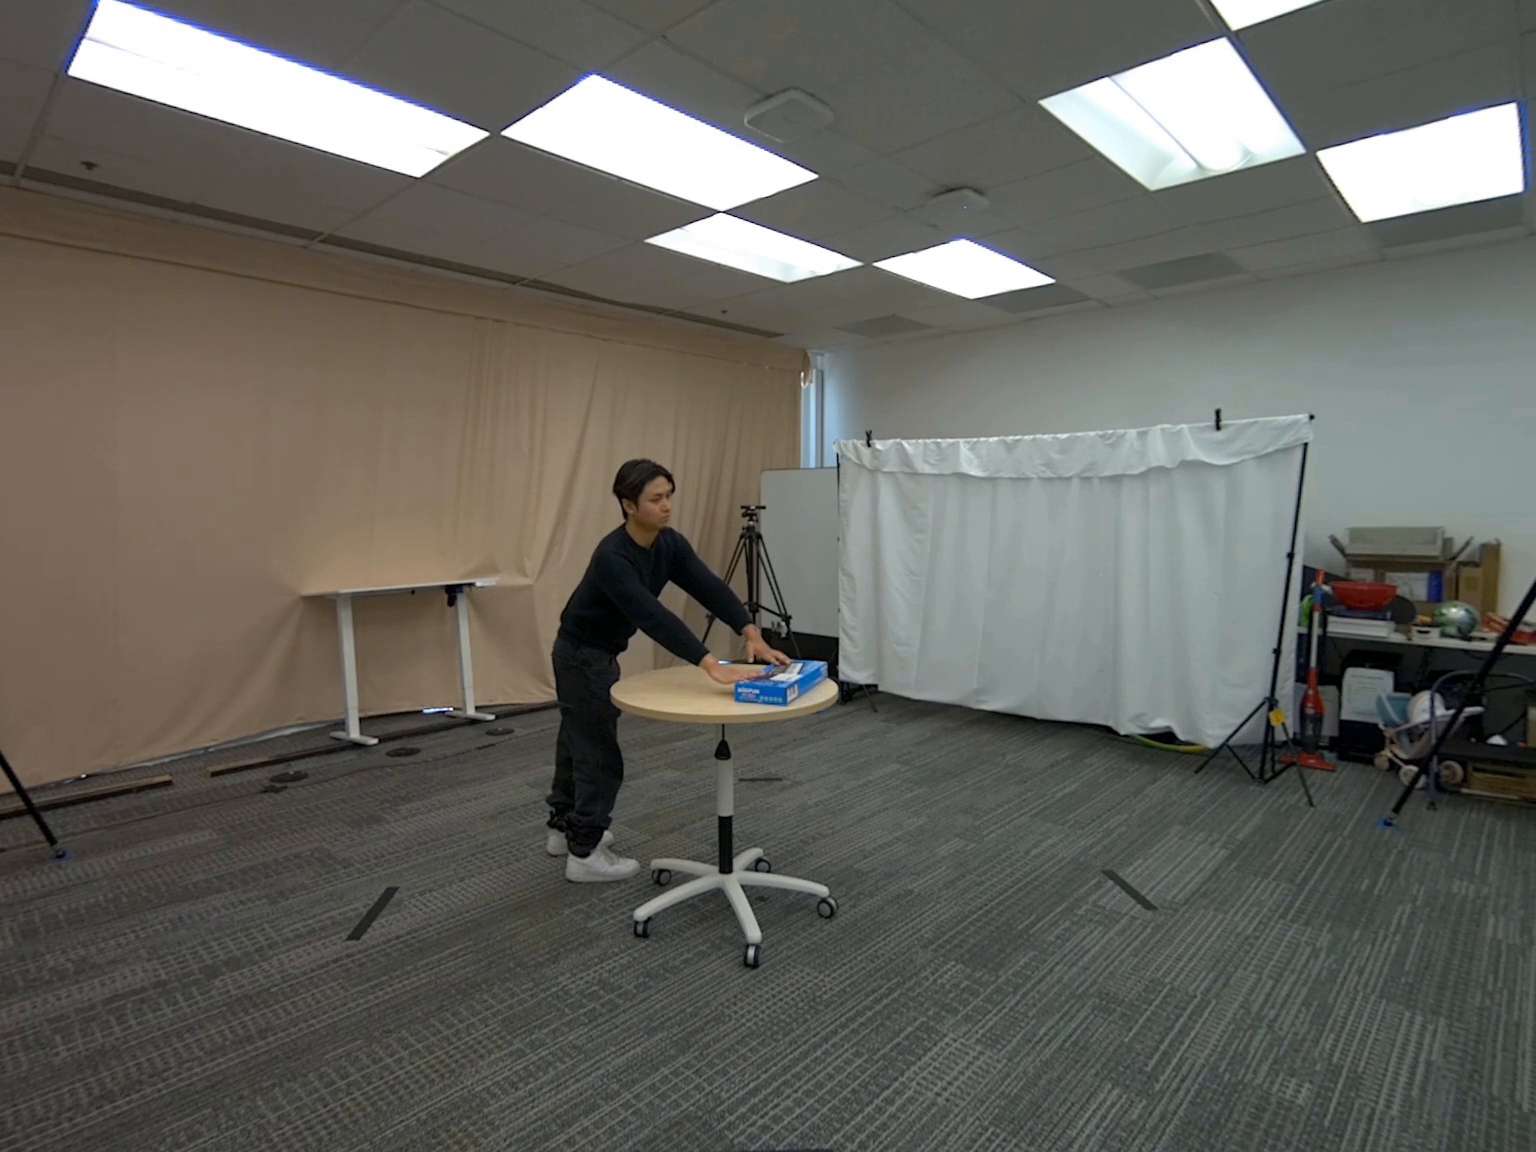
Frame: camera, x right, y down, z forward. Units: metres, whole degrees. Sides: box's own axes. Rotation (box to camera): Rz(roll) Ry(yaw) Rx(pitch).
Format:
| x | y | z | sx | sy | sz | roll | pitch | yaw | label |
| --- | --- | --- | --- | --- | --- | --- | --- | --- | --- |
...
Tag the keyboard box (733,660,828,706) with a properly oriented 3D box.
| x | y | z | sx | sy | sz | roll | pitch | yaw | label |
| --- | --- | --- | --- | --- | --- | --- | --- | --- | --- |
| 0.049 | 0.350 | 2.787 | 0.180 | 0.059 | 0.428 | 1 | 5 | 22 | keyboard box |
